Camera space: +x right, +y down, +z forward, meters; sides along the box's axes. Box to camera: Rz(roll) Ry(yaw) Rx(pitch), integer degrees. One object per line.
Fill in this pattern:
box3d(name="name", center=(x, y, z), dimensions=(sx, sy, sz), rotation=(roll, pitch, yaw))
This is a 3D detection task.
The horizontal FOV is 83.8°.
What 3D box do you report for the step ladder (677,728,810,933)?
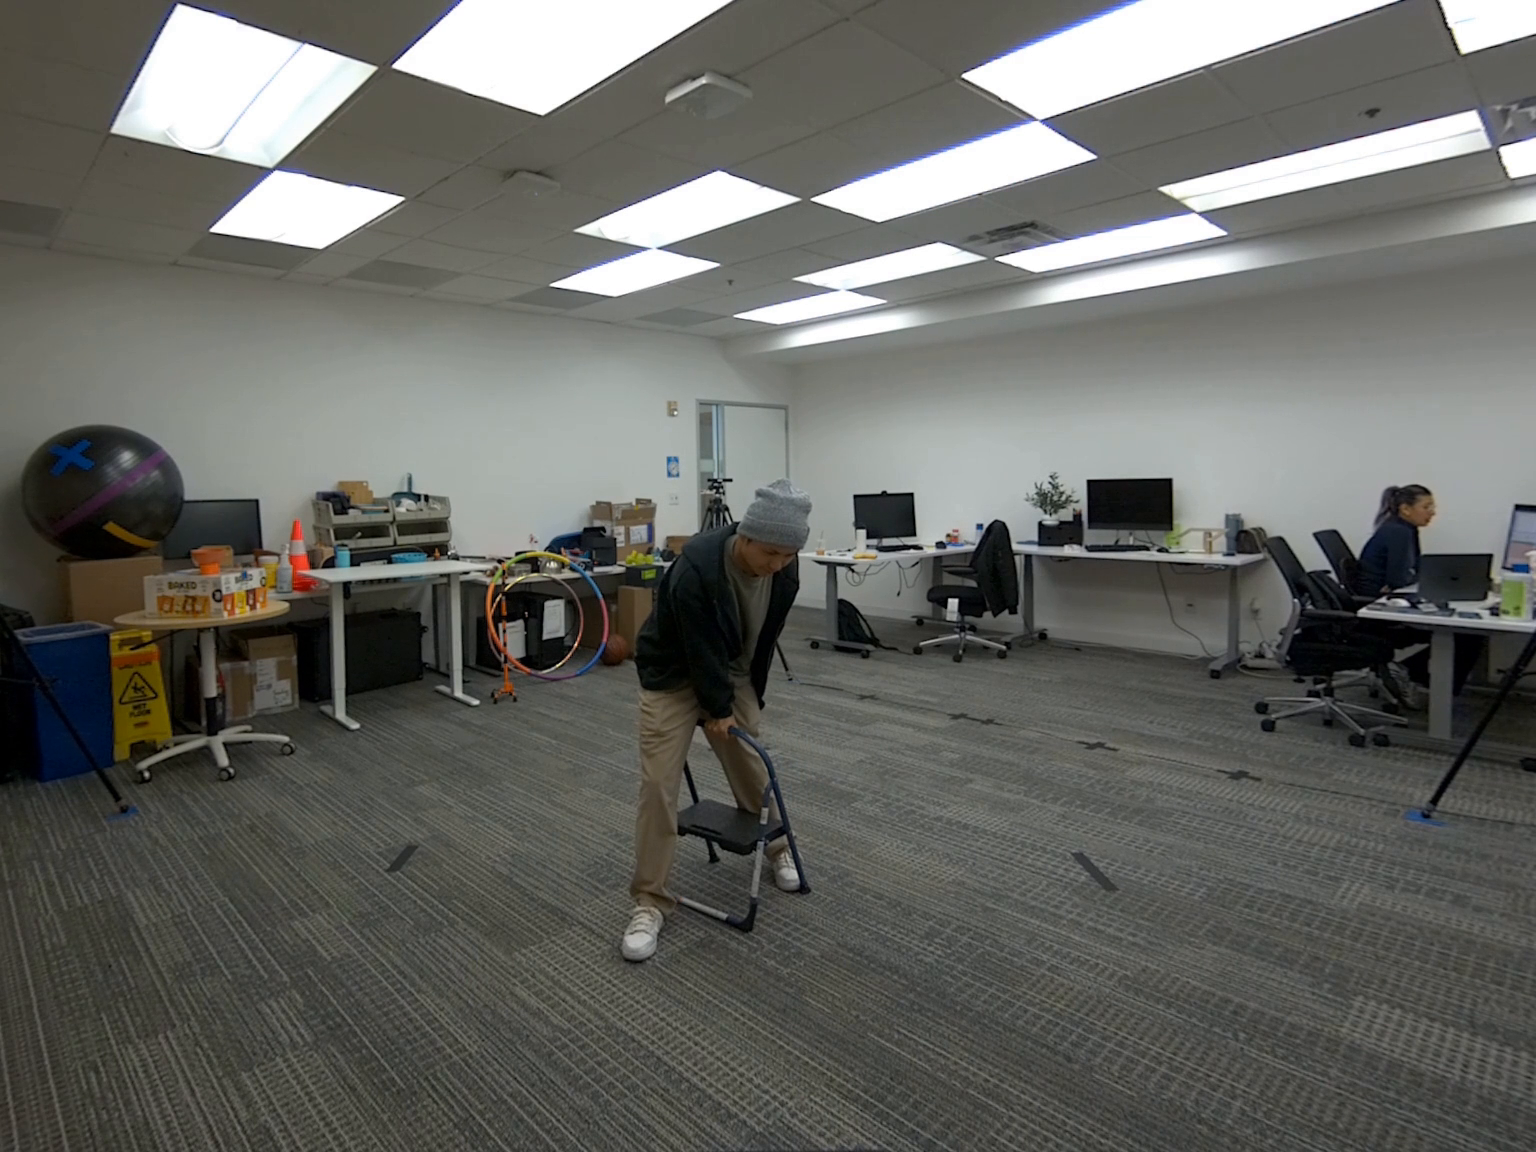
box3d(name="step ladder", center=(-0.128, 0.771, 2.867), dimensions=(0.443, 0.603, 0.341), rotation=(3, 6, 36))
